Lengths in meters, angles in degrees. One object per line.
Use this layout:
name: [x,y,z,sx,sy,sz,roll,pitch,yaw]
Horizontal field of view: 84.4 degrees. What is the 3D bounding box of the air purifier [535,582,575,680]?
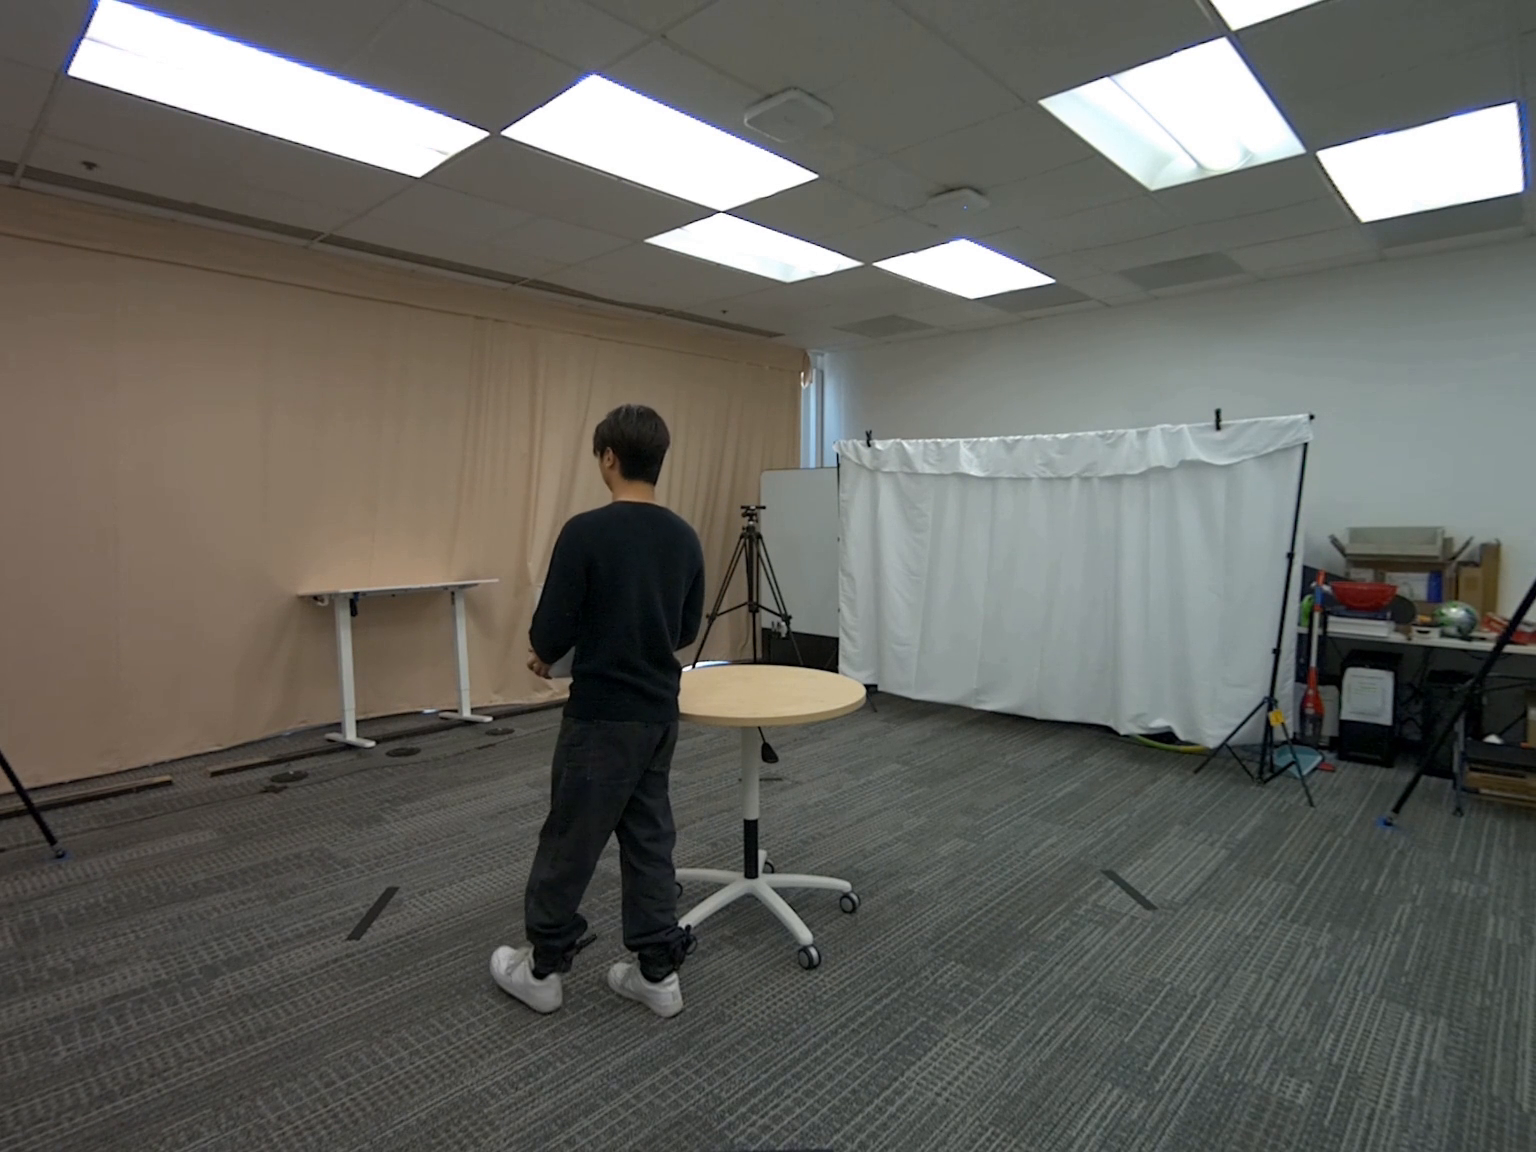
air purifier: [-0.613,0.165,2.559,0.166,0.265,0.177,3,7,-45]
